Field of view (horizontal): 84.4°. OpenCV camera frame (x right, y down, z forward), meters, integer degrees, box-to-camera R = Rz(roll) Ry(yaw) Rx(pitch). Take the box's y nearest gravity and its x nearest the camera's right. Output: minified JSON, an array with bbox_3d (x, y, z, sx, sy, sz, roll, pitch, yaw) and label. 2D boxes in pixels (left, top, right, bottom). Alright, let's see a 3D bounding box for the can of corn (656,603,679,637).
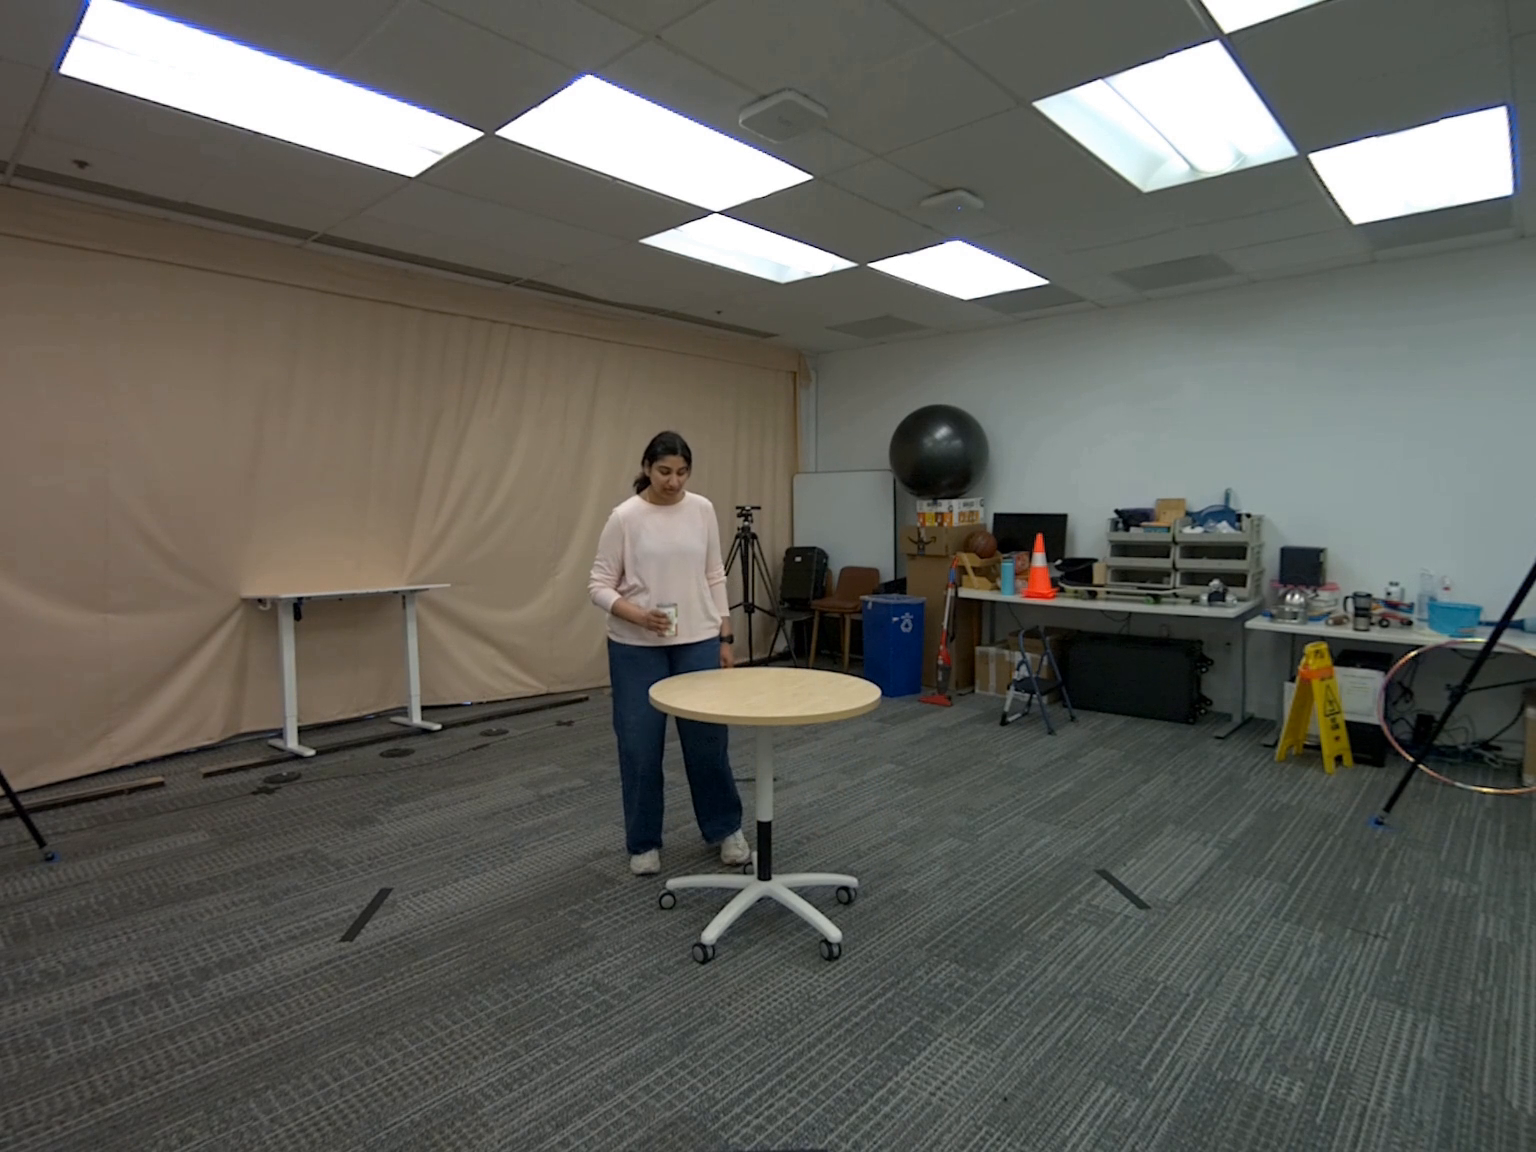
[{"bbox_3d":[-0.366,0.160,3.003,0.074,0.110,0.074,-8,8,-1],"label":"can of corn"}]
